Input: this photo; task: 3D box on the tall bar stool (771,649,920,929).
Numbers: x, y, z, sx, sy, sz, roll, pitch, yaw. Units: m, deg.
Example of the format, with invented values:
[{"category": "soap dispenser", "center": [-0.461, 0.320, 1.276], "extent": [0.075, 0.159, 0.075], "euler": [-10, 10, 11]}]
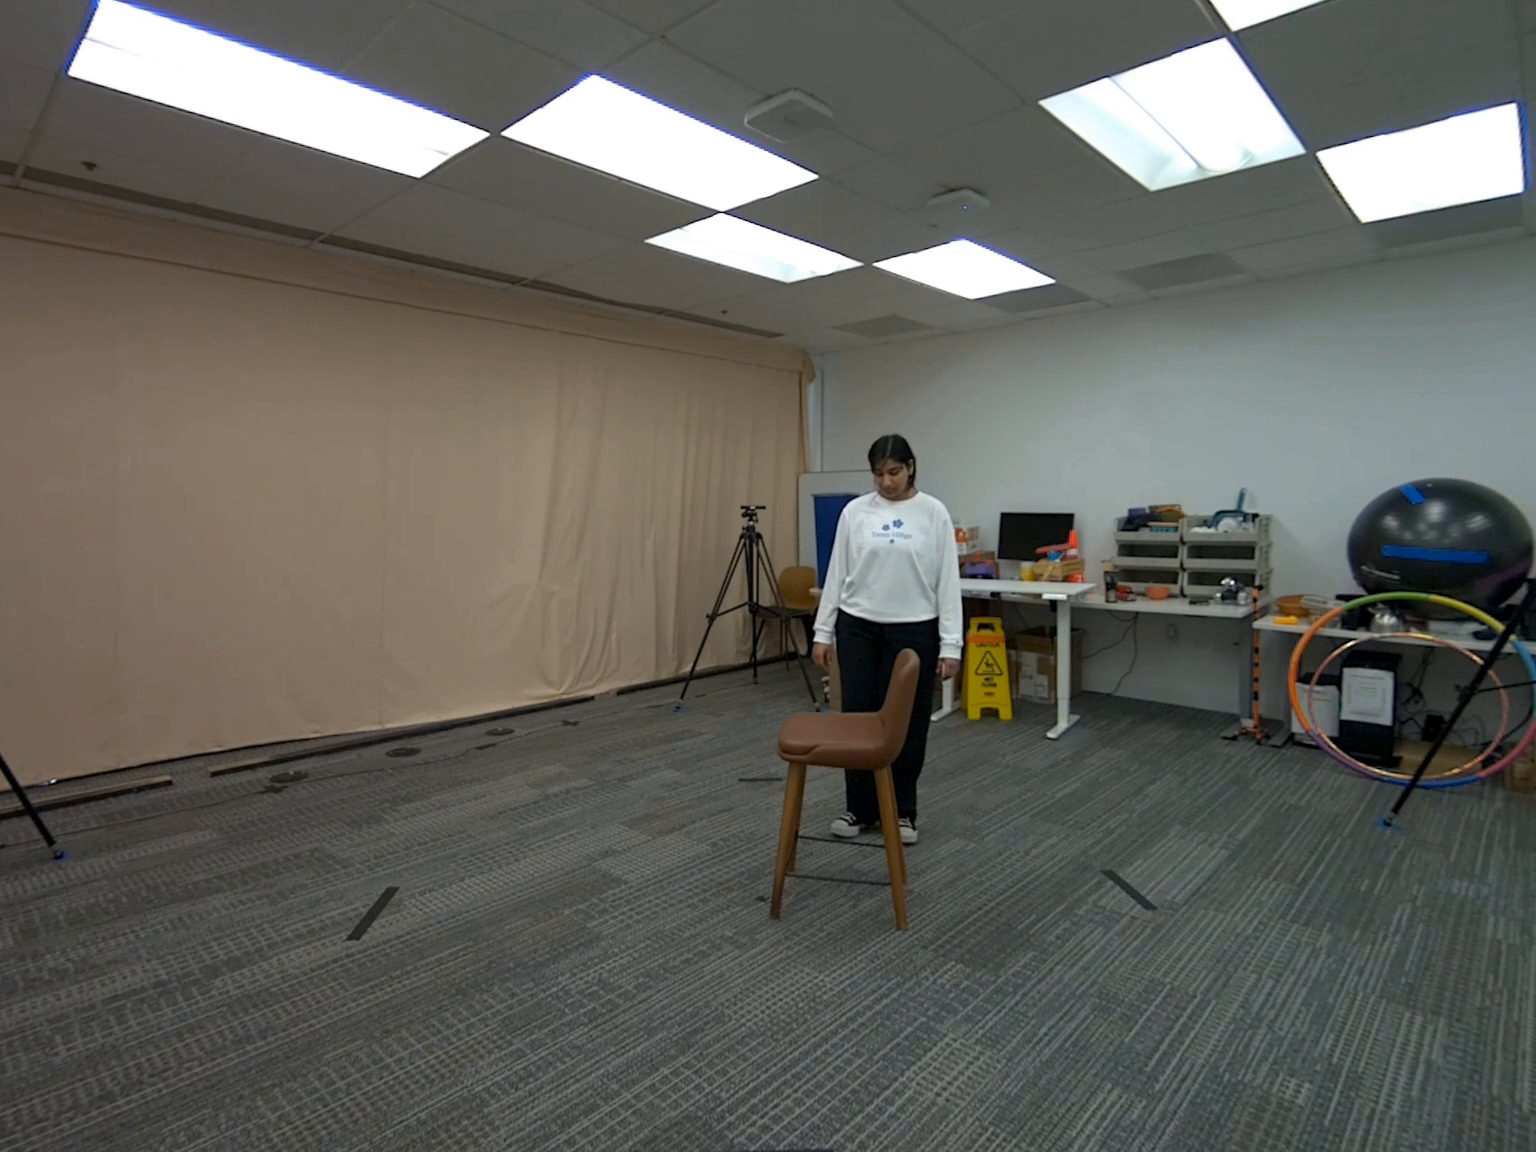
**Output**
[{"category": "tall bar stool", "center": [0.275, 0.712, 2.965], "extent": [0.474, 0.888, 0.451], "euler": [3, 3, 11]}]
